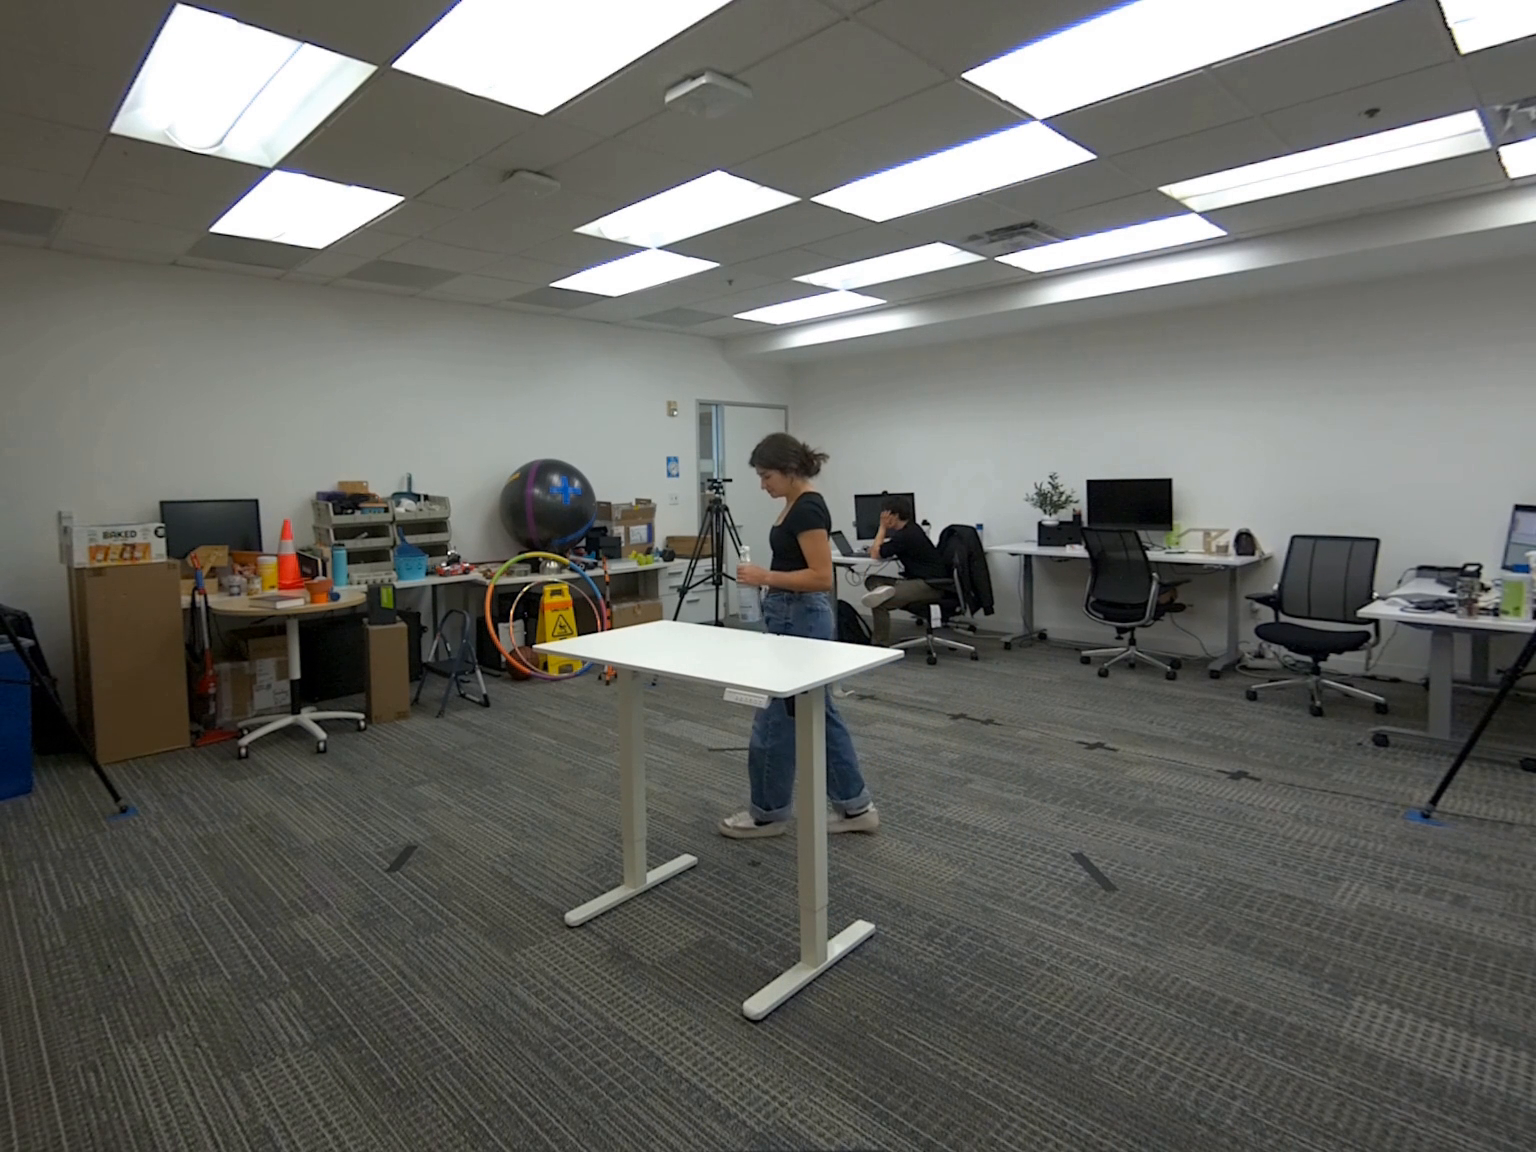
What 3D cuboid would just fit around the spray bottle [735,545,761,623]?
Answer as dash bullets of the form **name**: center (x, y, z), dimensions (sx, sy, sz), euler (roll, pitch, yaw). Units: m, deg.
- **spray bottle**: center (-0.070, 0.033, 3.194), dimensions (0.088, 0.295, 0.090), euler (-4, 9, 8)
